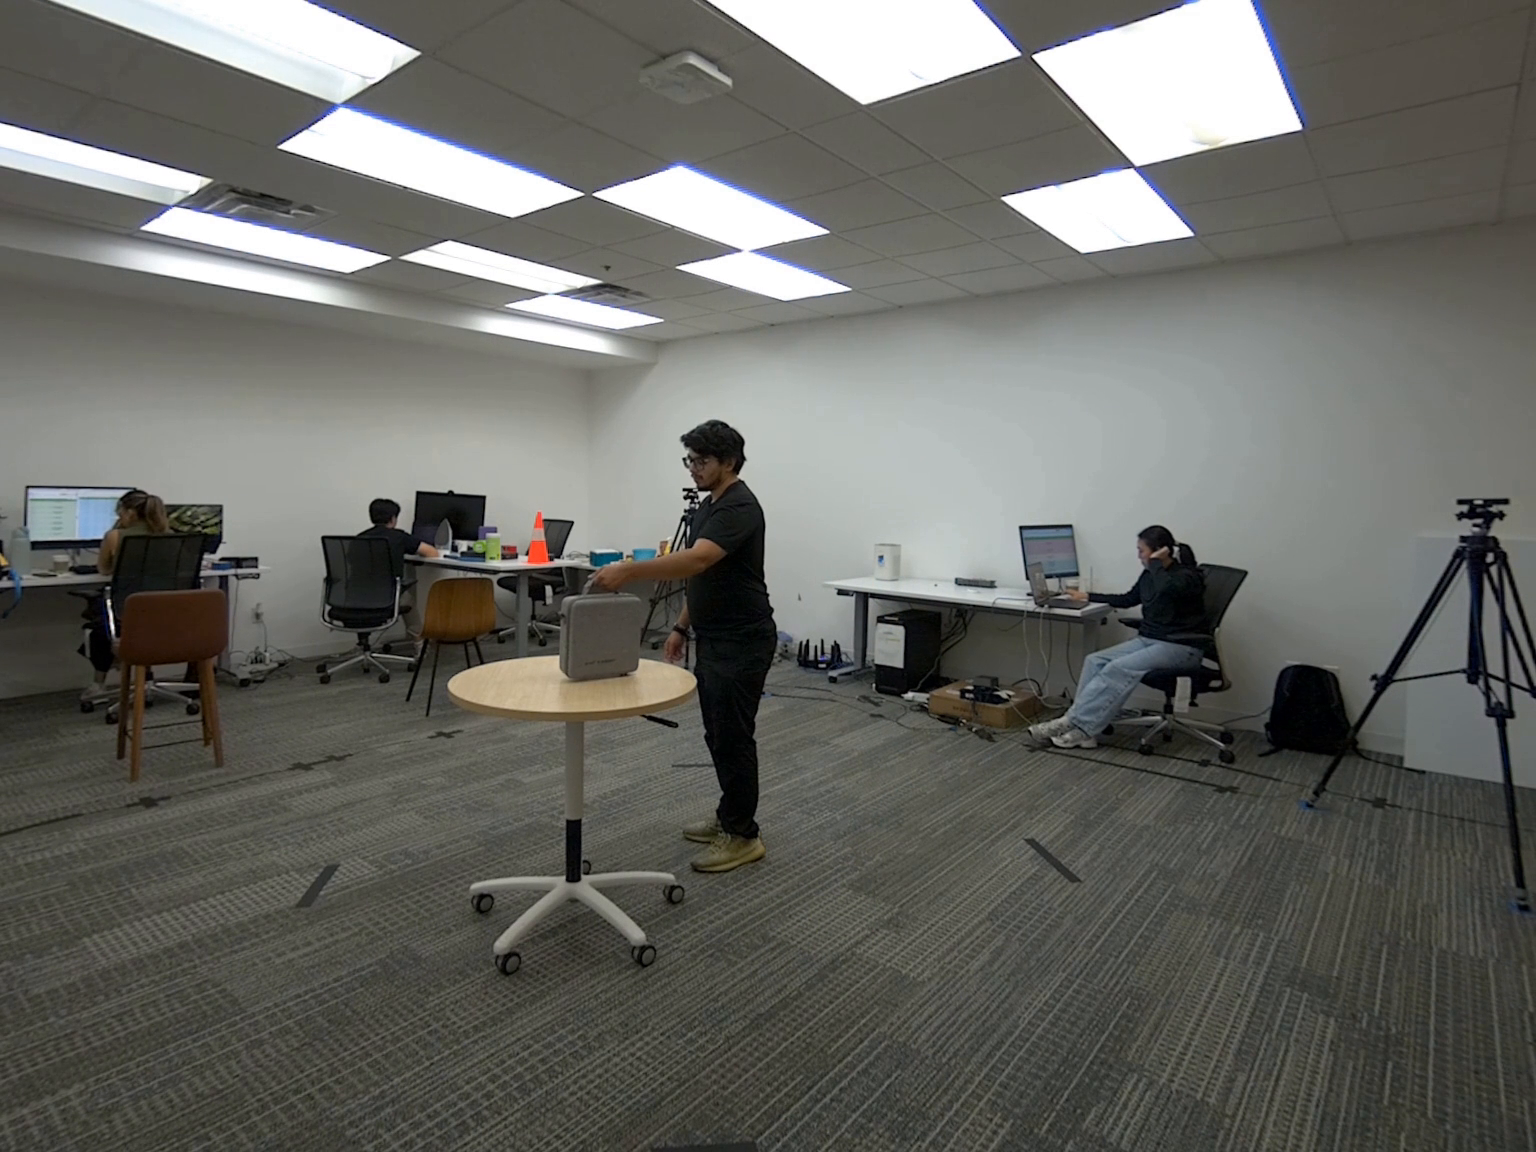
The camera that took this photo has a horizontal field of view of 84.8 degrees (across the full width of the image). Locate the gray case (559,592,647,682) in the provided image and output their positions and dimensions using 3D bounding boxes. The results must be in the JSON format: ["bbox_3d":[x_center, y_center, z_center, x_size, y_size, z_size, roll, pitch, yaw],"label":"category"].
[{"bbox_3d":[-0.542,0.181,2.705,0.249,0.259,0.108,-1,7,-36],"label":"gray case"}]
